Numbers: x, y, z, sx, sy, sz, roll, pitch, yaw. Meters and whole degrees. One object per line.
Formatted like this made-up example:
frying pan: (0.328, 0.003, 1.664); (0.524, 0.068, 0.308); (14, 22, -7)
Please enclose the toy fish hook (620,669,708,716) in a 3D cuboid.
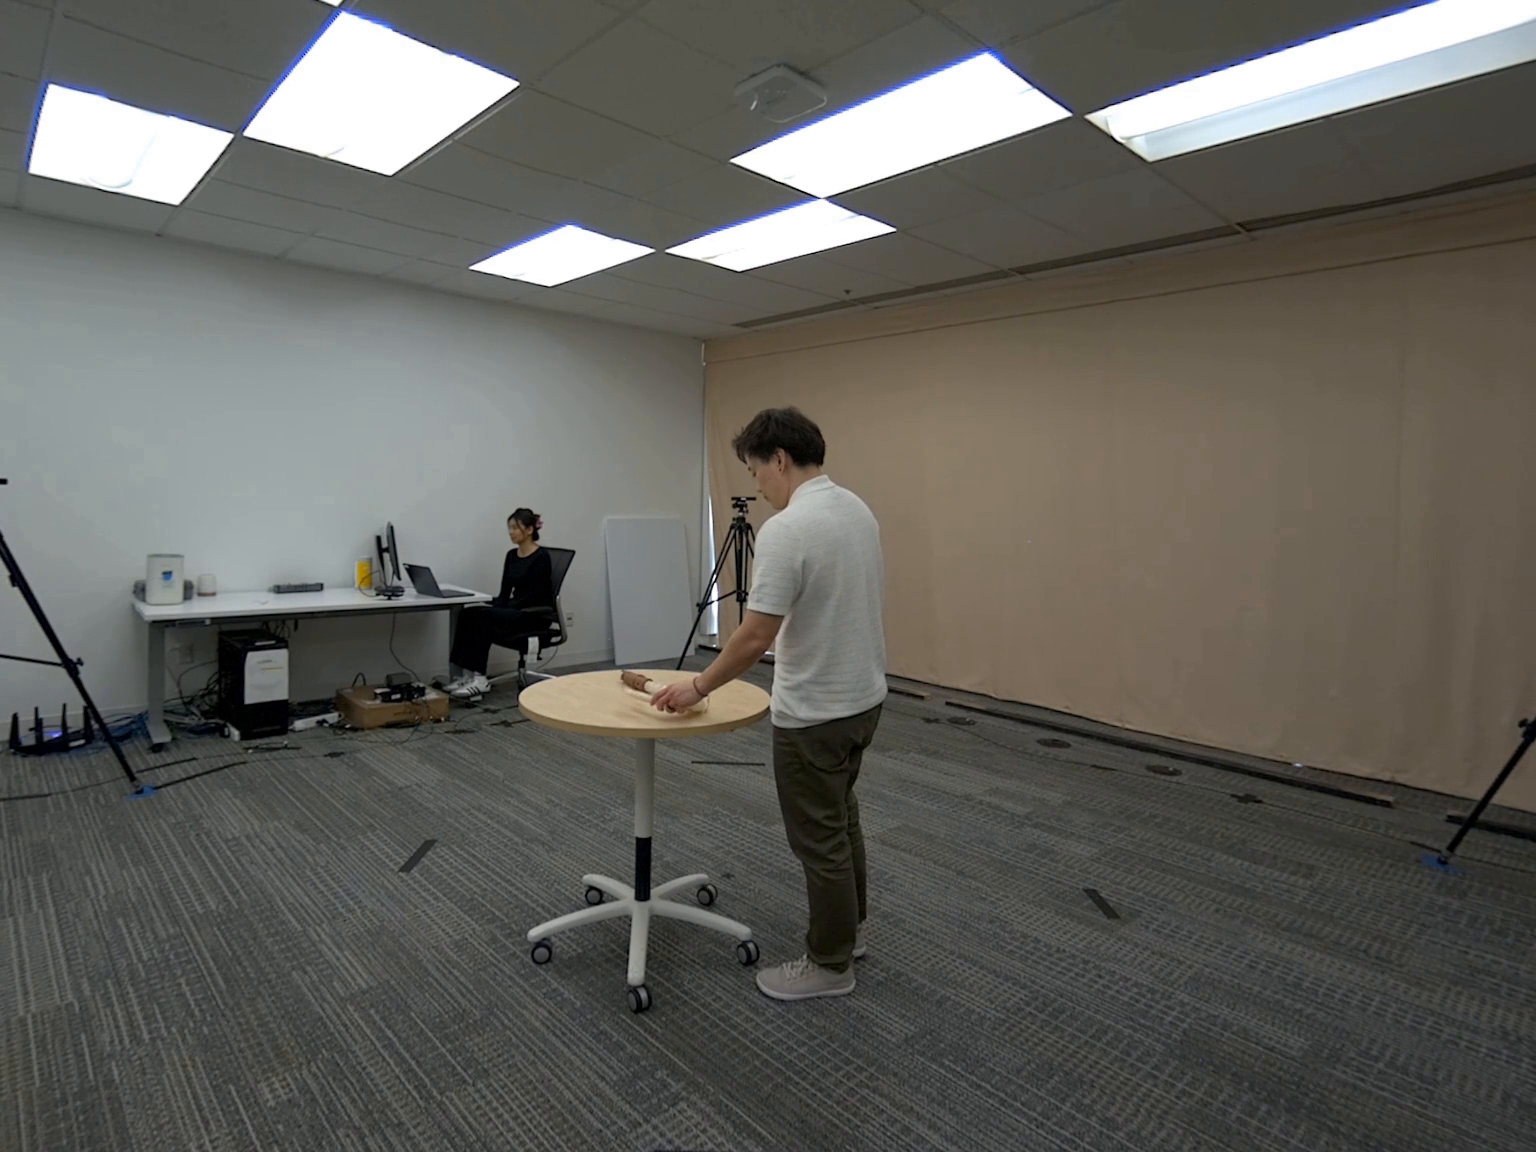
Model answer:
toy fish hook: (-0.391, 0.343, 2.533); (0.218, 0.048, 0.519); (17, -5, -34)
